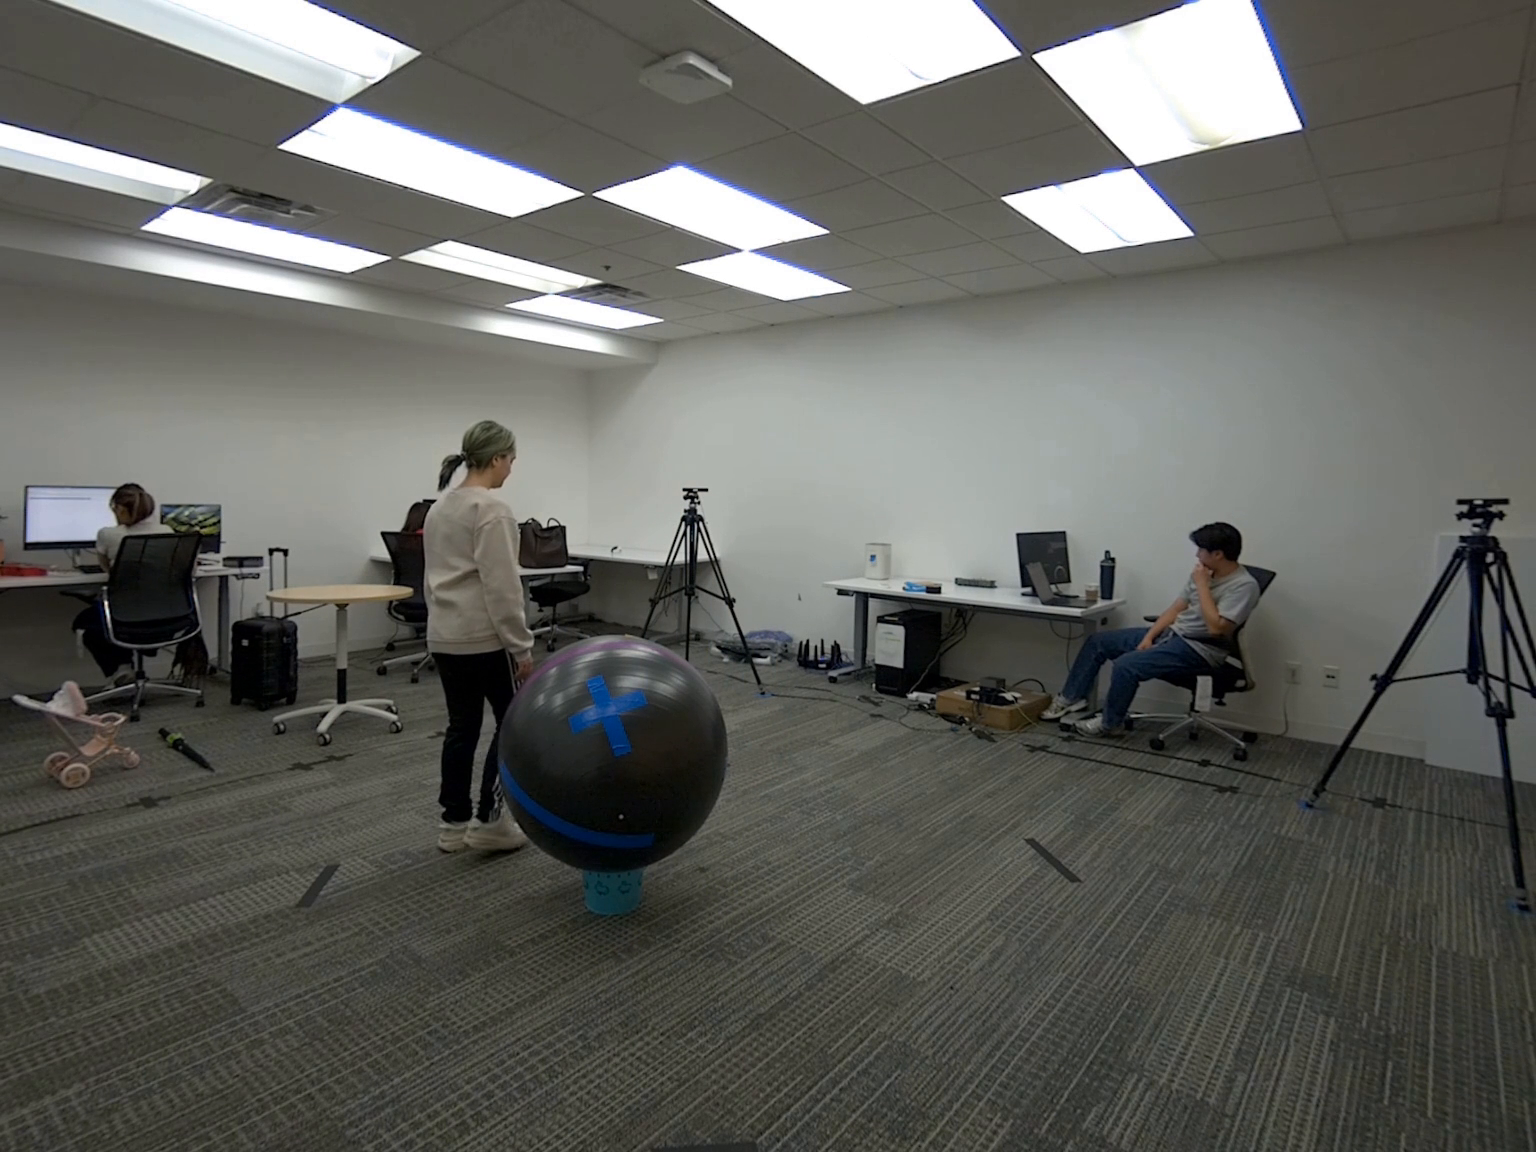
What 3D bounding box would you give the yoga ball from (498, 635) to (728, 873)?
[{"bbox_3d":[-0.521,0.580,2.827,0.757,0.755,0.762,1,4,-2],"label":"yoga ball"}]
